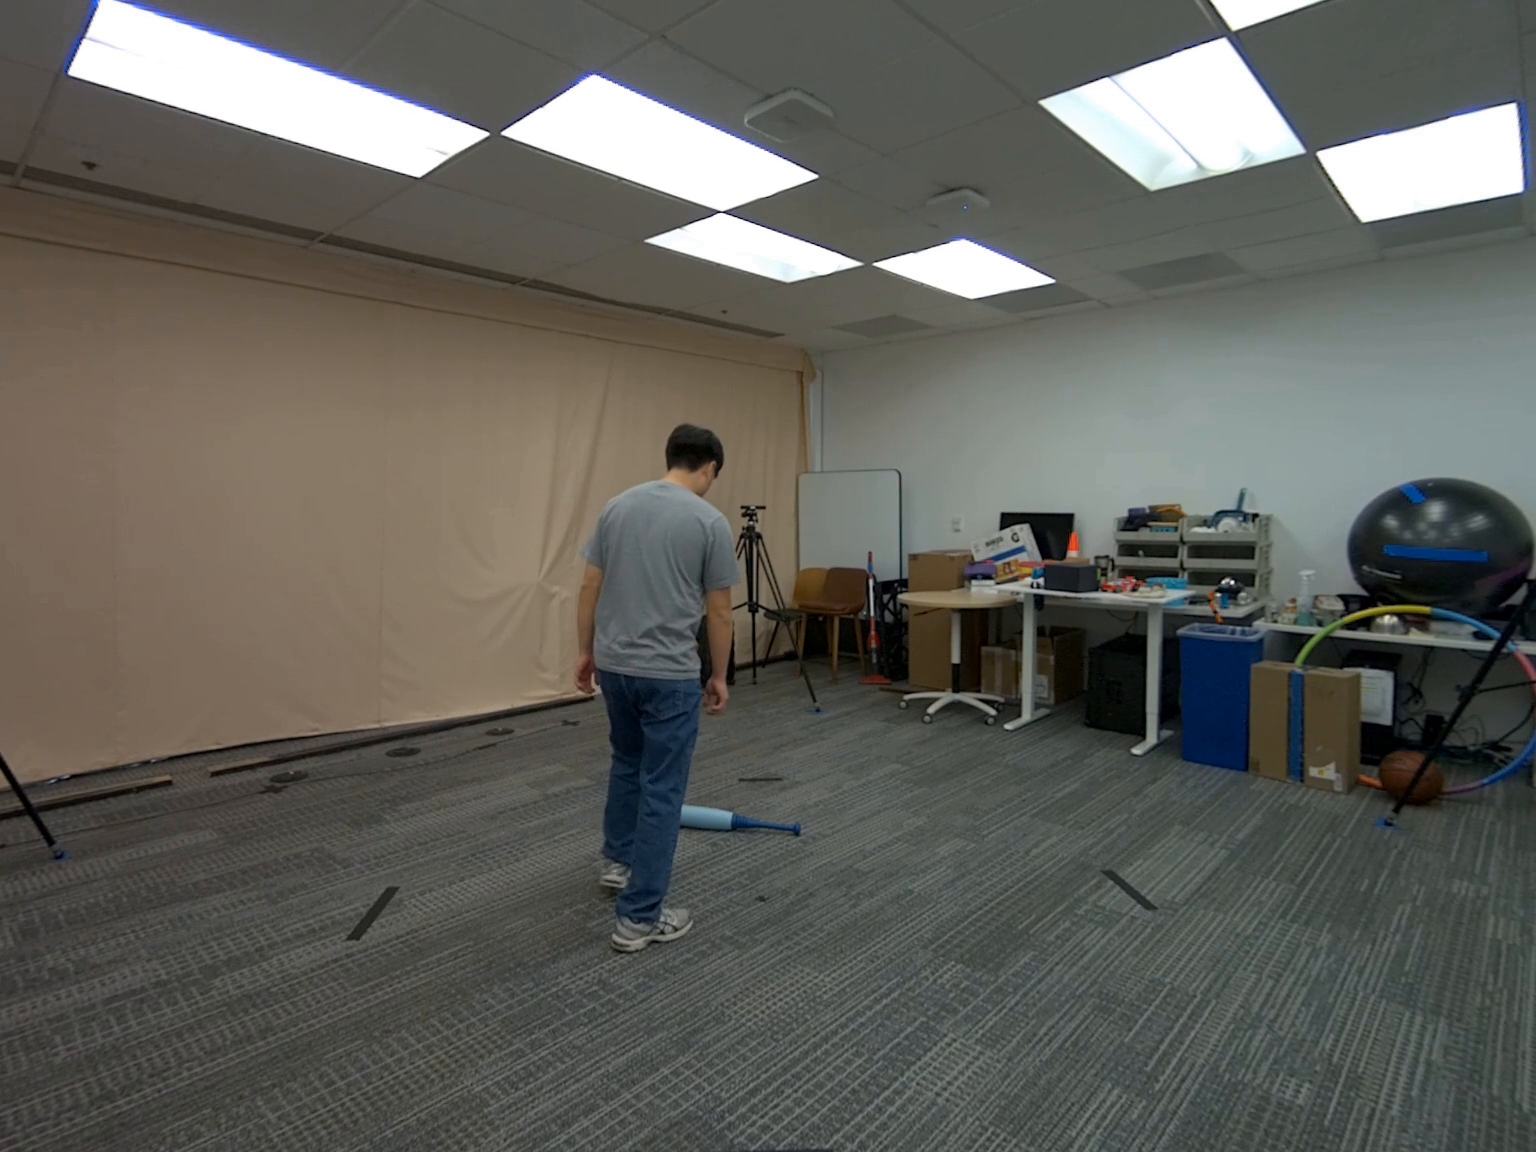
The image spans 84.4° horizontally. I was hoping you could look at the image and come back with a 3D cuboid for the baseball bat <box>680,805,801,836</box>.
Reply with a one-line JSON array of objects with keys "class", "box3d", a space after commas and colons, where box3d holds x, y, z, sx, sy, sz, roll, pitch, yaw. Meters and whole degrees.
[{"class": "baseball bat", "box3d": [-0.129, 1.055, 3.609, 0.550, 0.089, 0.088, 3, 4, 12]}]
